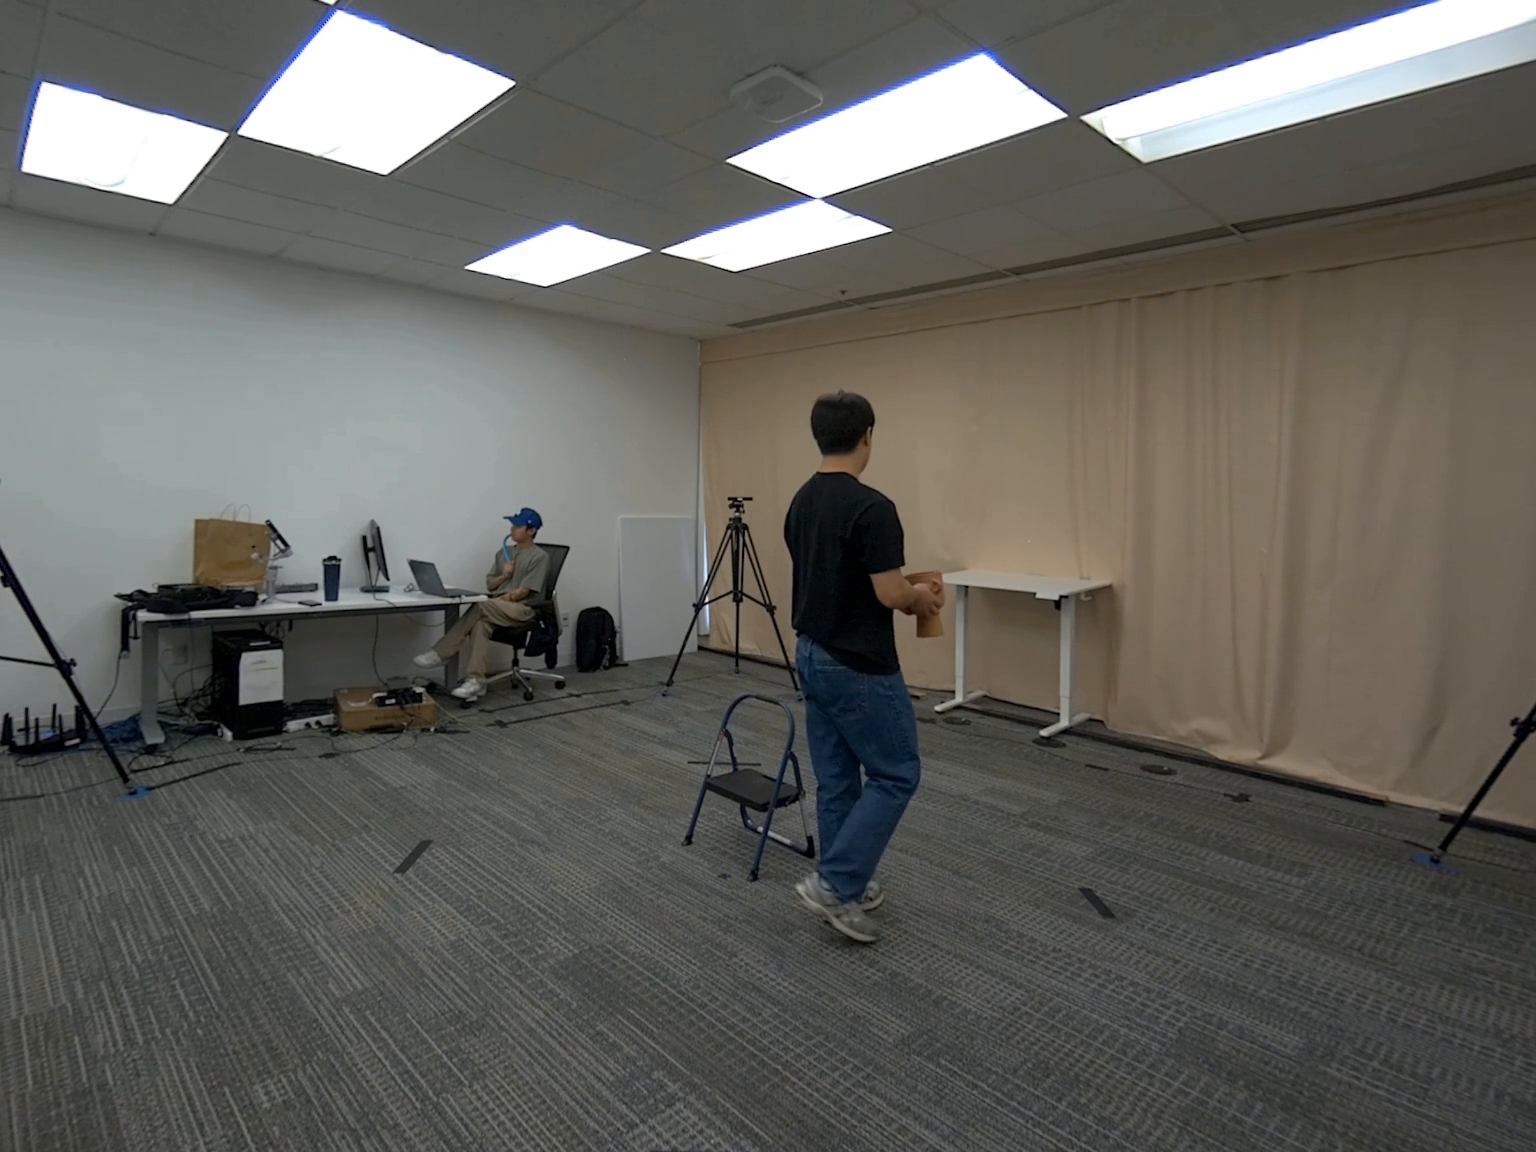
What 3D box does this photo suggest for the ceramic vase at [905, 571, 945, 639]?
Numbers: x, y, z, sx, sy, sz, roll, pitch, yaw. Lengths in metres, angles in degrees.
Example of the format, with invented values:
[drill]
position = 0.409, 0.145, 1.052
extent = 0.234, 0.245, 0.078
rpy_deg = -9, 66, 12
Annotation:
[ceramic vase]
position = 0.537, 0.102, 2.934
extent = 0.136, 0.219, 0.157
rpy_deg = -7, 1, 15
